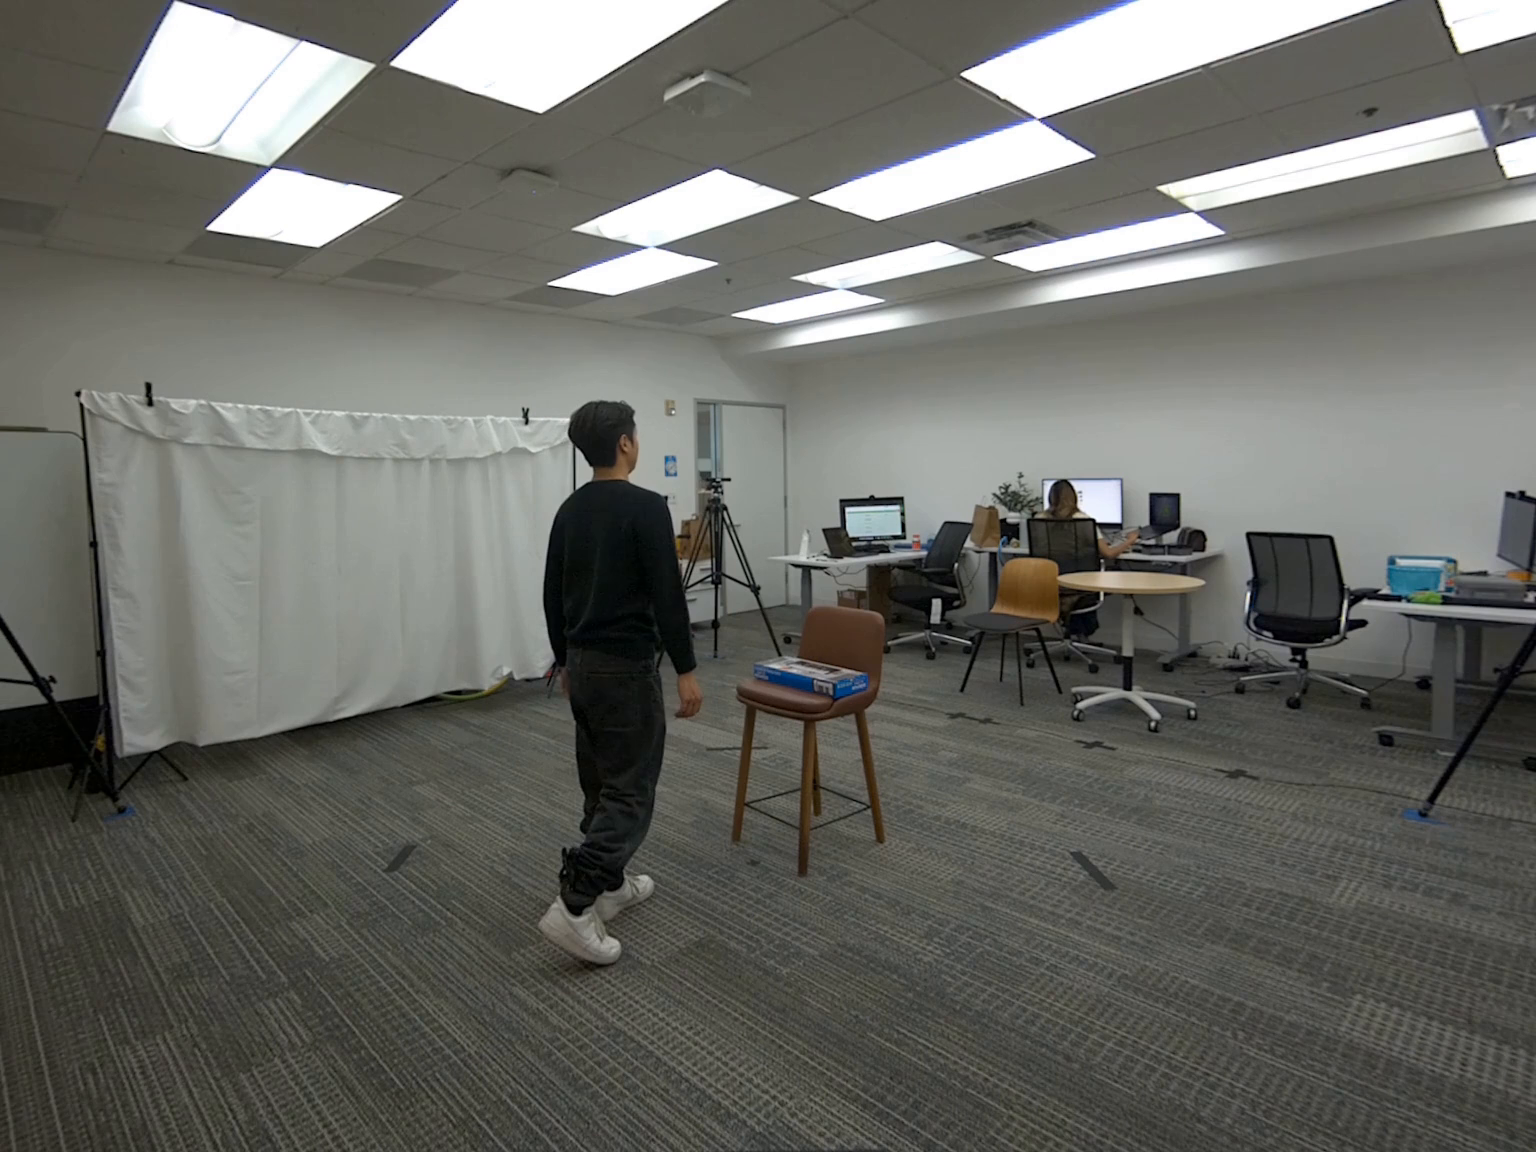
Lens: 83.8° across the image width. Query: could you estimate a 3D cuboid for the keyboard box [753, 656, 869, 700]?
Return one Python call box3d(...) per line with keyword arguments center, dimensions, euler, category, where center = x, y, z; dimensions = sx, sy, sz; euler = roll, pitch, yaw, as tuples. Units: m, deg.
box3d(center=(0.155, 0.375, 3.238), dimensions=(0.171, 0.059, 0.450), euler=(-9, 10, -40), category="keyboard box")
